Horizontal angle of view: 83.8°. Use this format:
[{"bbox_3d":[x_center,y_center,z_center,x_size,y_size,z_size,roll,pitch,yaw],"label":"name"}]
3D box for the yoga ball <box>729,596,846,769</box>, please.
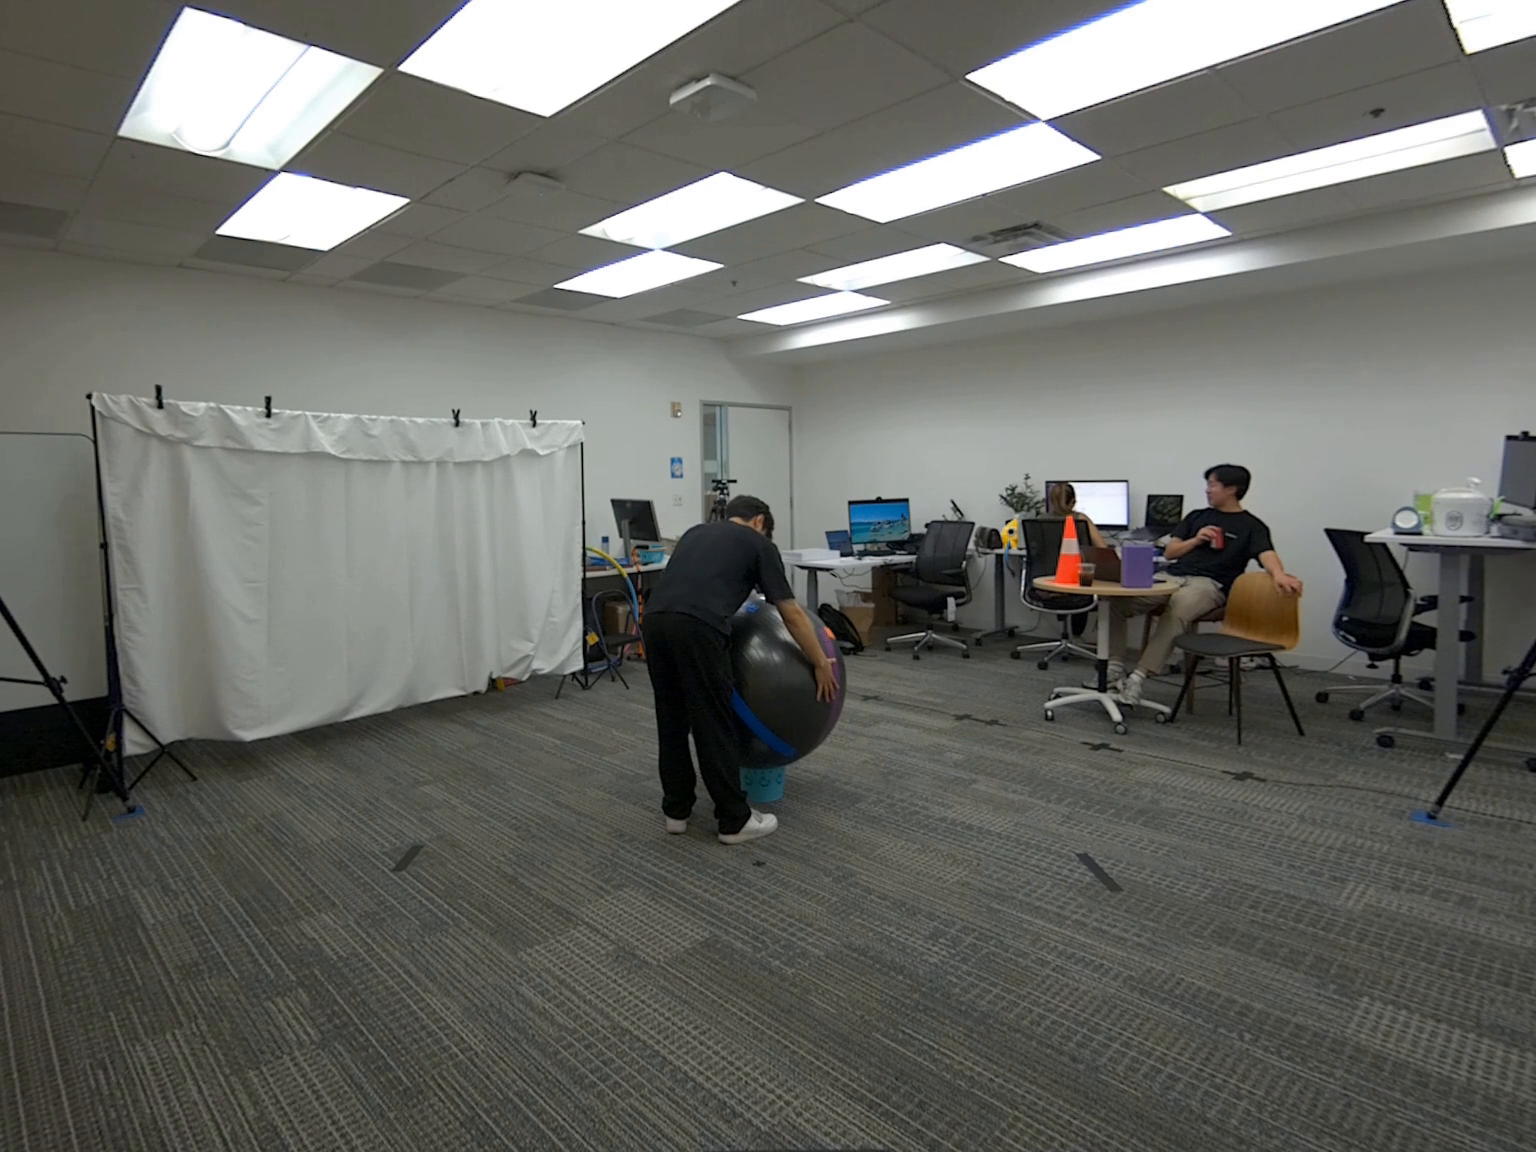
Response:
[{"bbox_3d":[-0.032,0.463,3.777,0.757,0.755,0.762,-1,5,-2],"label":"yoga ball"}]
